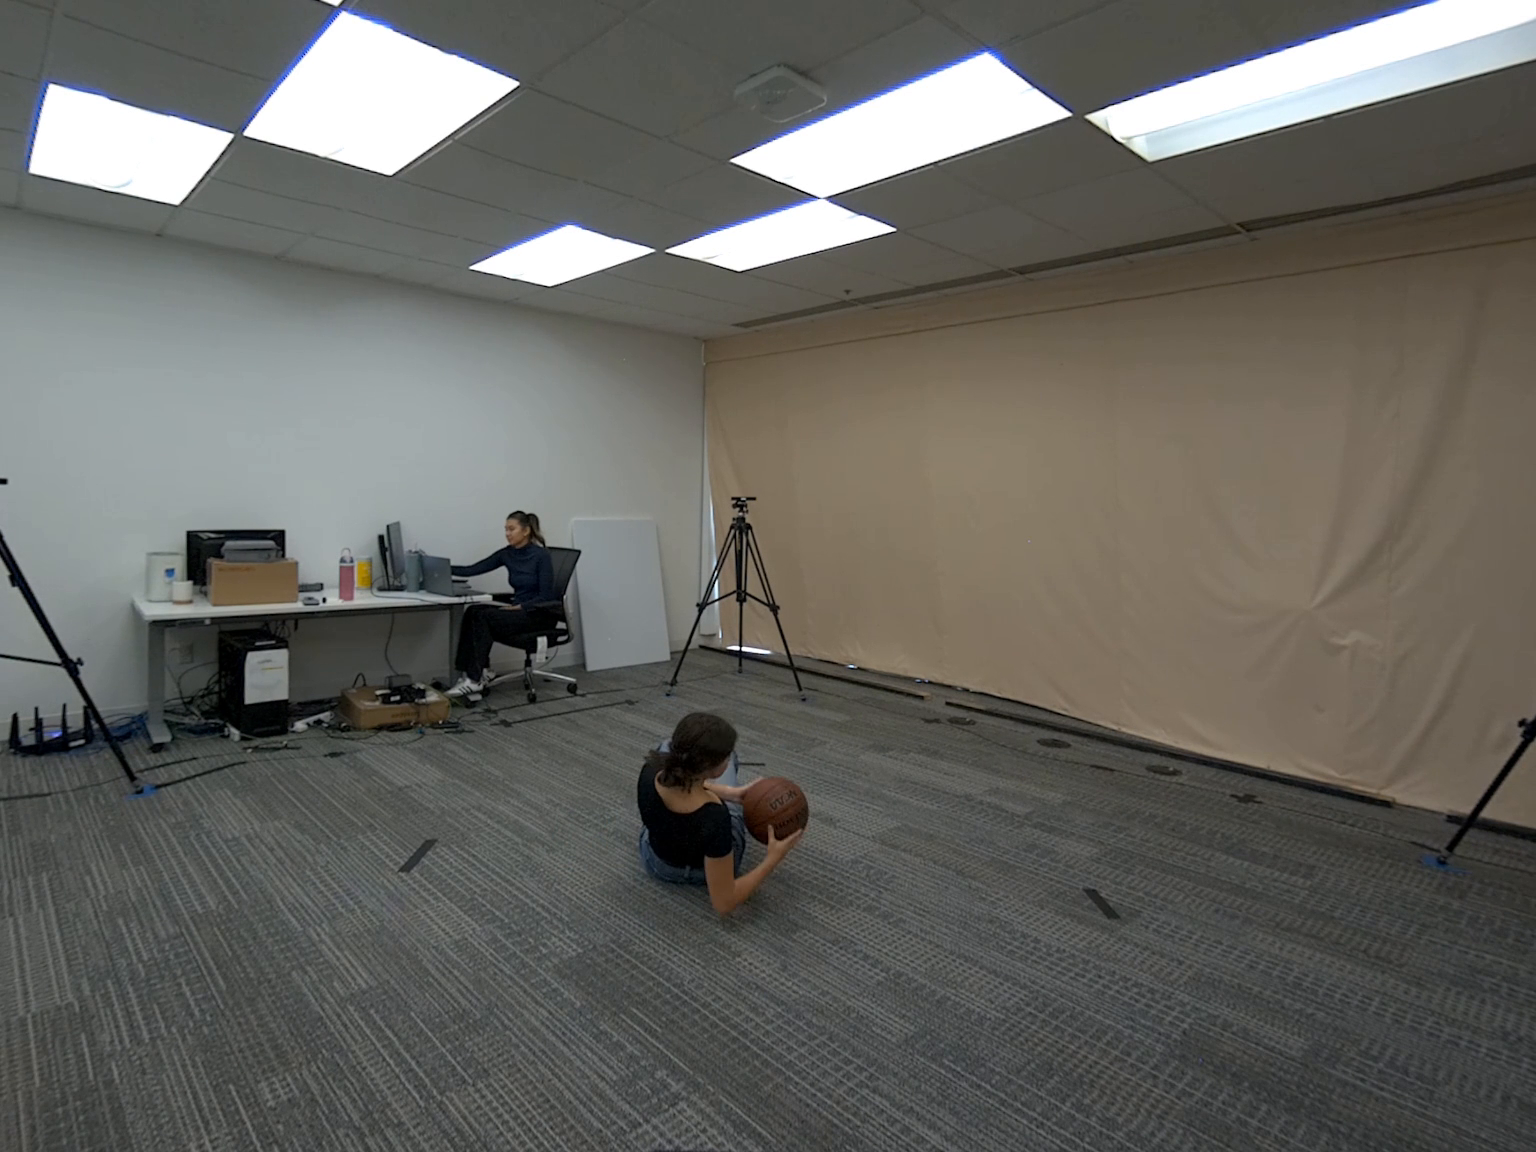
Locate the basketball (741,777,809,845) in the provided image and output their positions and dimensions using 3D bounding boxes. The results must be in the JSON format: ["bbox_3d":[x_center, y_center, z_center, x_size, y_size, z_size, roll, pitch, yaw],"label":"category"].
[{"bbox_3d":[0.011,0.841,3.018,0.236,0.235,0.237,1,4,-1],"label":"basketball"}]
